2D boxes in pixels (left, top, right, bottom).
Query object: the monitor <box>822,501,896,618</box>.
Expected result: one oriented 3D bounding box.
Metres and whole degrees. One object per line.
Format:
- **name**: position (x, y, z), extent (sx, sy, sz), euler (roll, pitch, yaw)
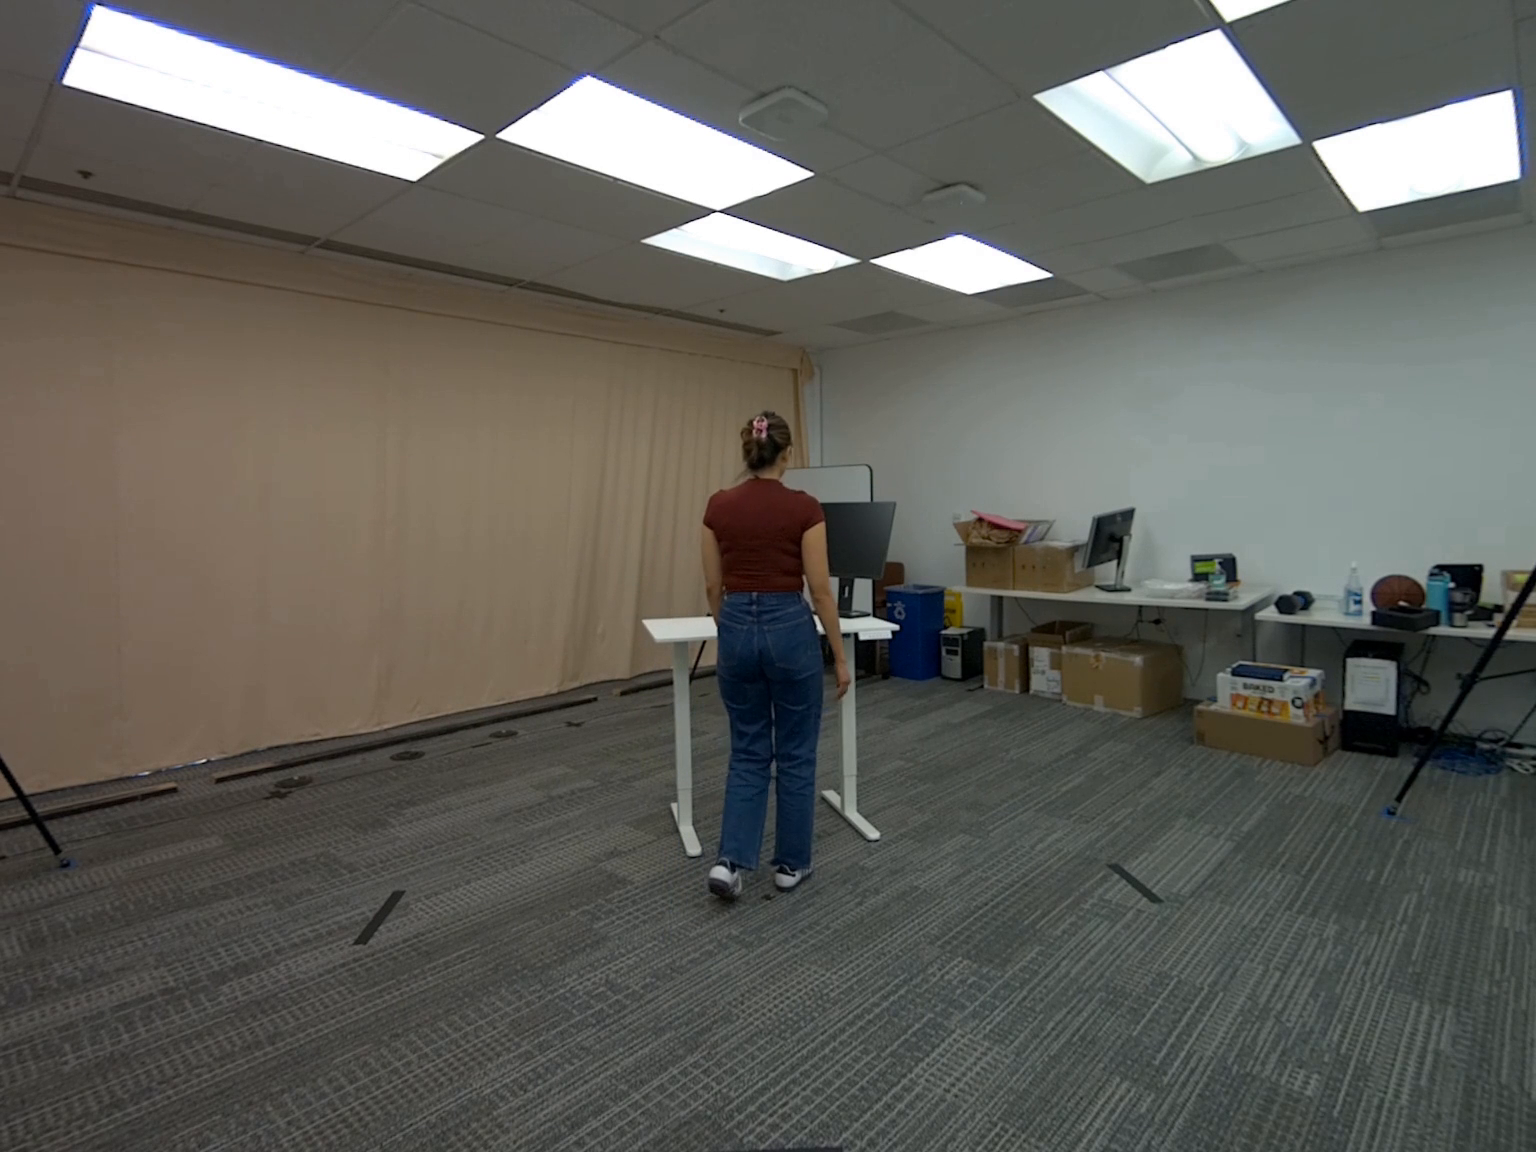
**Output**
- **monitor**: position (0.336, -0.078, 3.851), extent (0.556, 0.521, 0.182), euler (3, 4, 36)
